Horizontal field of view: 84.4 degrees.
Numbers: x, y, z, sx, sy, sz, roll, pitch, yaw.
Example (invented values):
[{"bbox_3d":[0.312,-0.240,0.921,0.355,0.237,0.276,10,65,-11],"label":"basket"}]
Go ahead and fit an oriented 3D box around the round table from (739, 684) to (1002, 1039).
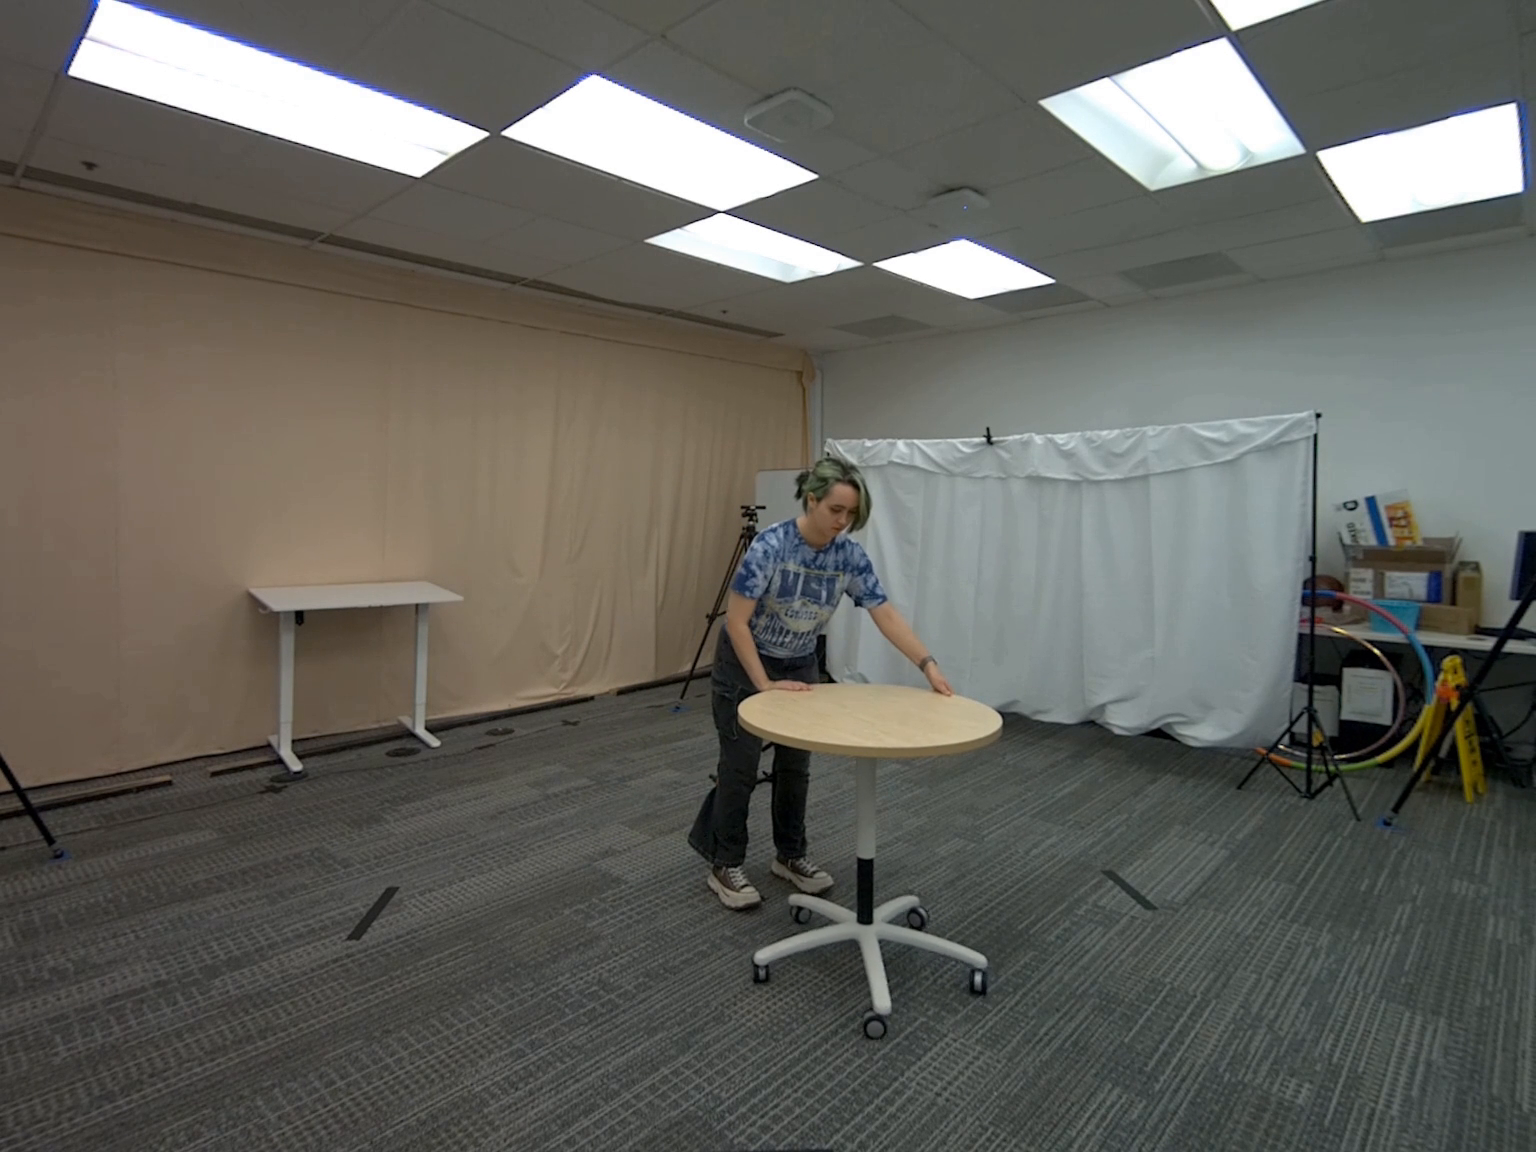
[{"bbox_3d":[0.308,0.796,2.518,0.763,0.792,0.767,0,4,-2],"label":"round table"}]
